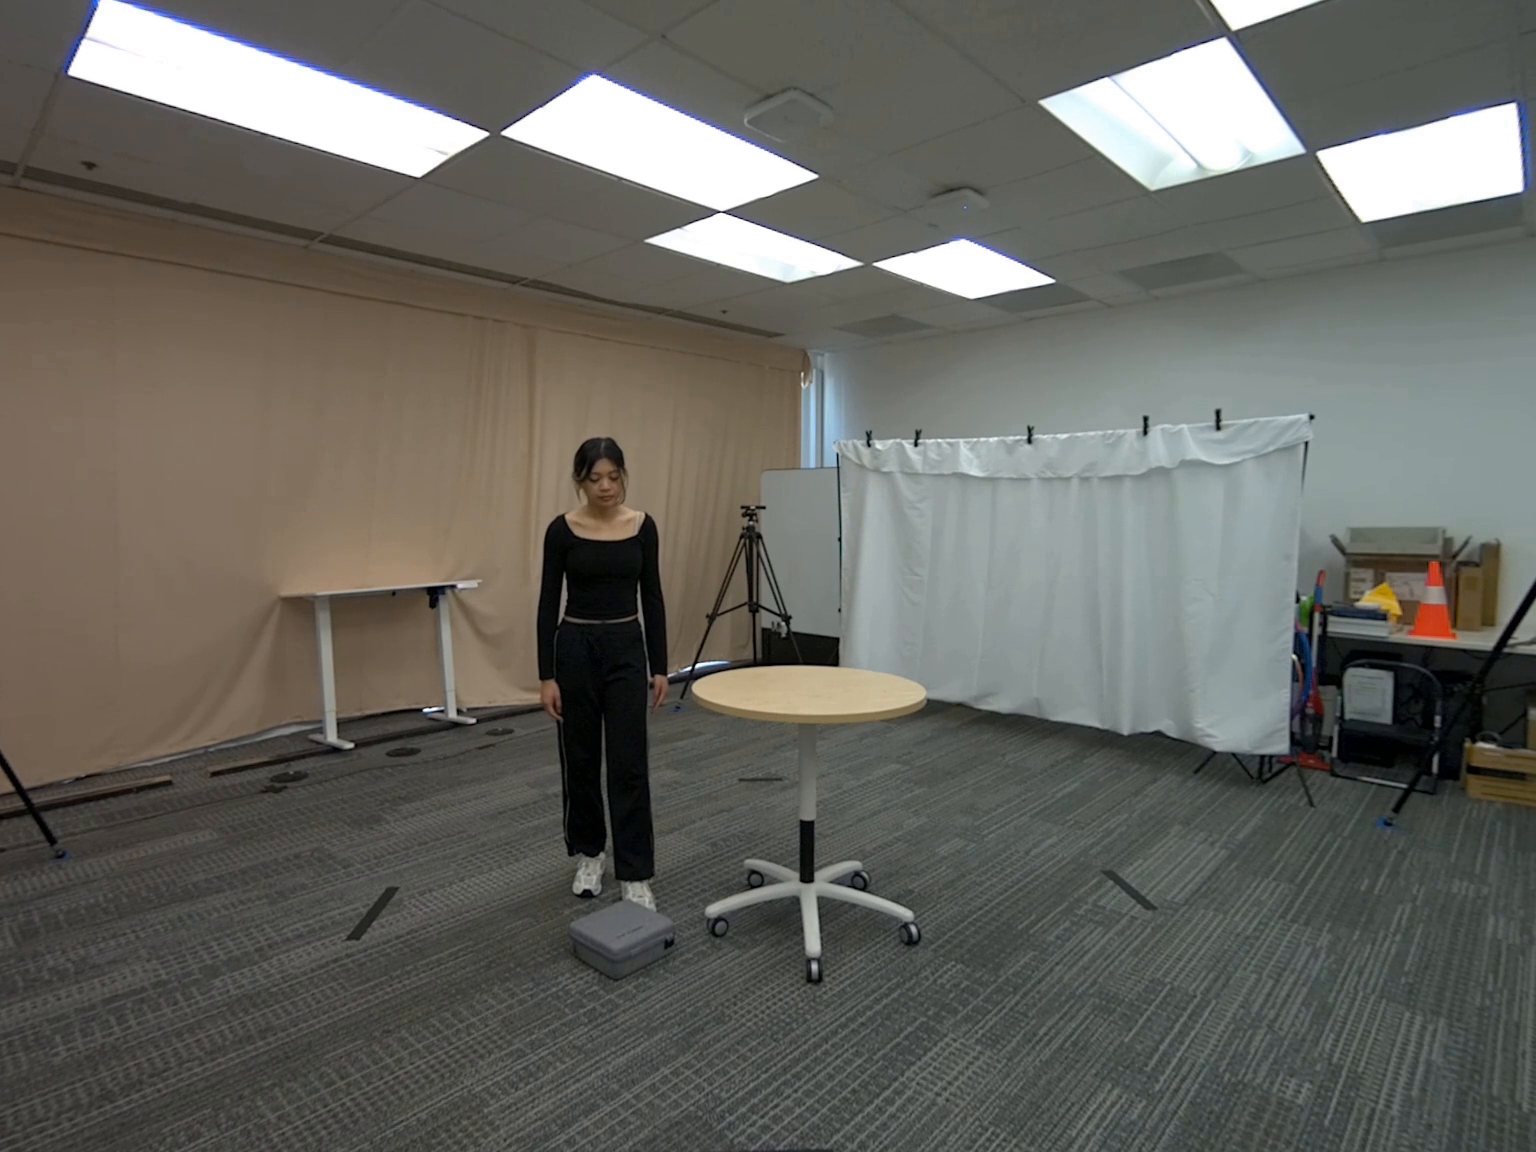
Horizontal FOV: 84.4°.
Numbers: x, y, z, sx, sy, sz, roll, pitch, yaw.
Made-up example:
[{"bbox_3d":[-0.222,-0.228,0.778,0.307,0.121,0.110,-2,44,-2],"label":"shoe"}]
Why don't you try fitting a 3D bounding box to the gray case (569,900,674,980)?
[{"bbox_3d":[-0.455,1.118,2.623,0.269,0.104,0.249,3,5,44],"label":"gray case"}]
